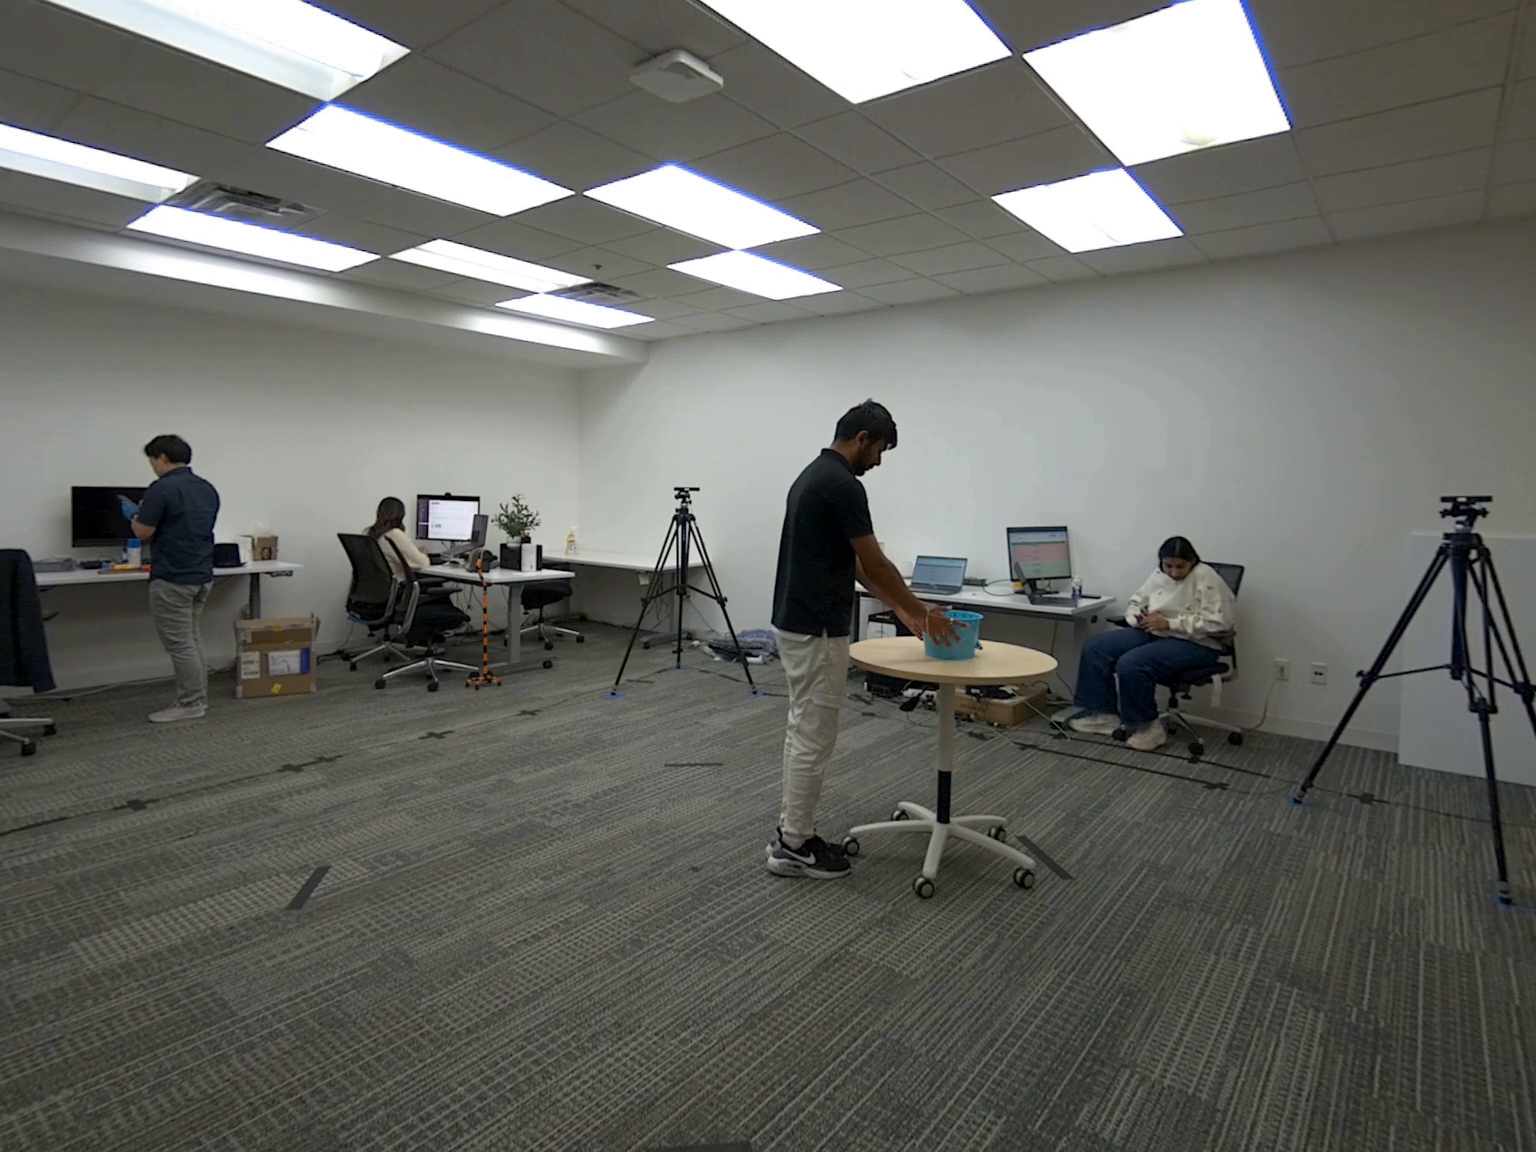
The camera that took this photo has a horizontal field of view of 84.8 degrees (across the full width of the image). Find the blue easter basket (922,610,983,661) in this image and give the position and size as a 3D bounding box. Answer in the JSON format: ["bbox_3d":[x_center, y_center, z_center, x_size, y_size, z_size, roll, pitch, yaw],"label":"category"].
[{"bbox_3d":[0.685,0.221,3.194,0.243,0.155,0.245,-1,6,-2],"label":"blue easter basket"}]
